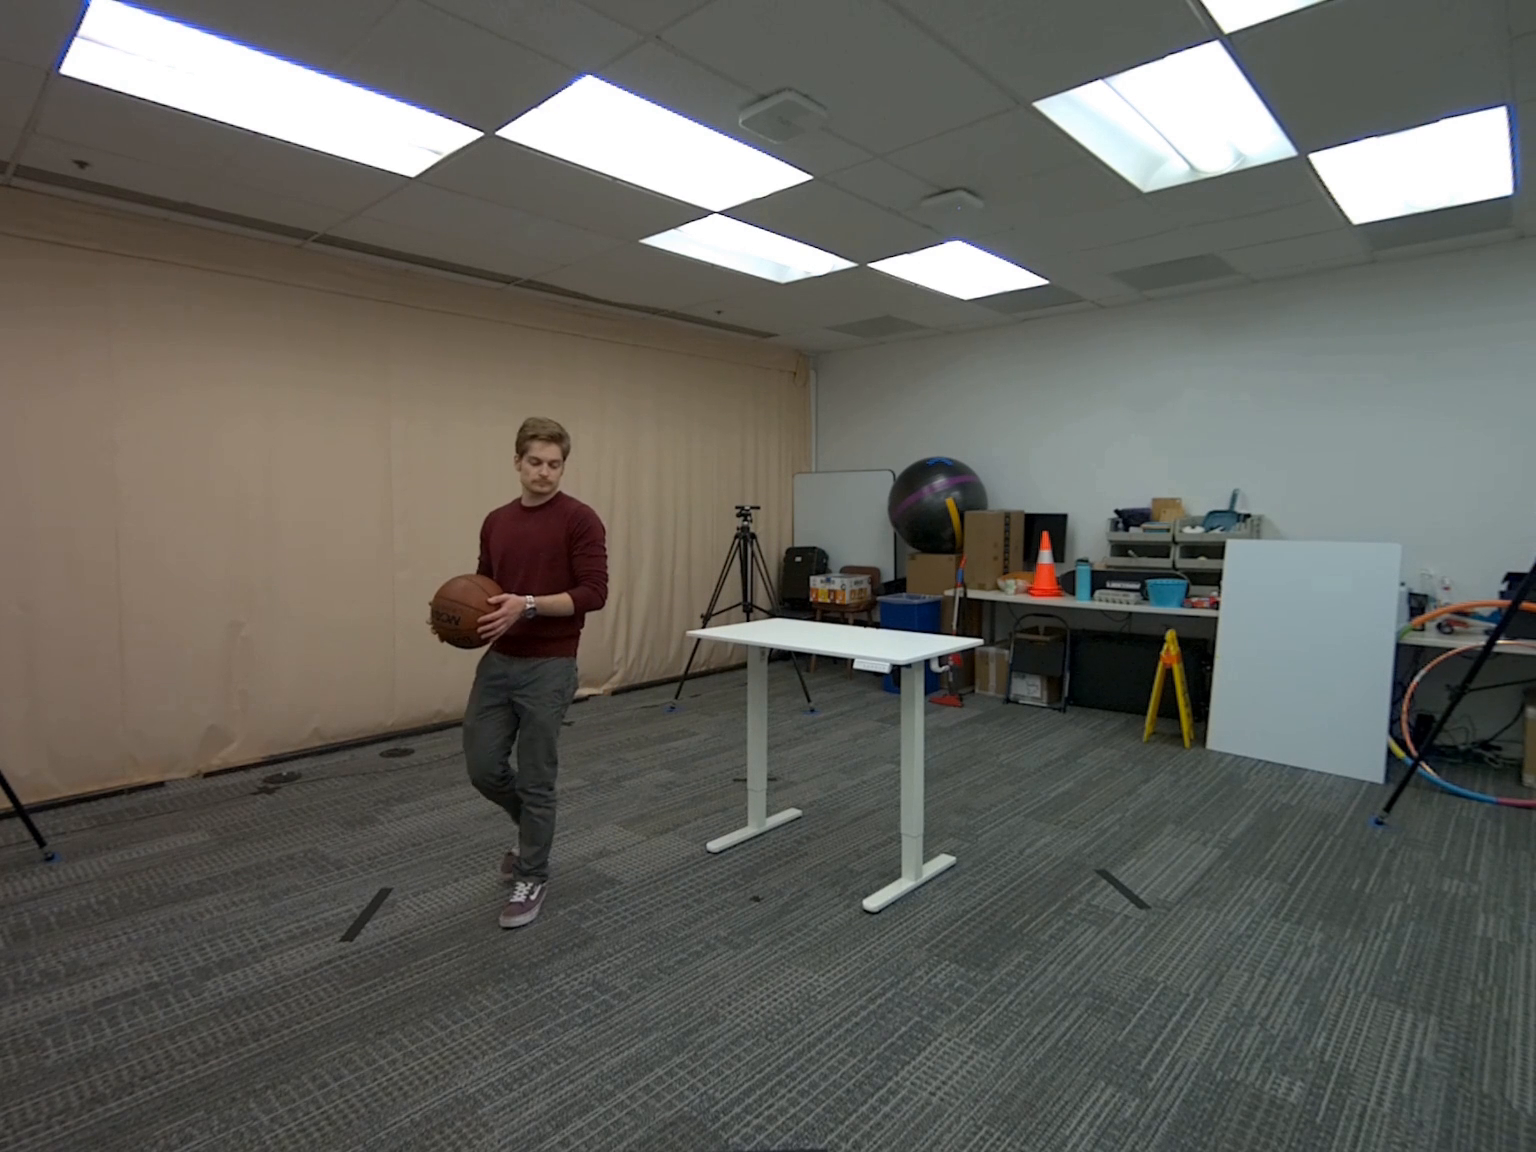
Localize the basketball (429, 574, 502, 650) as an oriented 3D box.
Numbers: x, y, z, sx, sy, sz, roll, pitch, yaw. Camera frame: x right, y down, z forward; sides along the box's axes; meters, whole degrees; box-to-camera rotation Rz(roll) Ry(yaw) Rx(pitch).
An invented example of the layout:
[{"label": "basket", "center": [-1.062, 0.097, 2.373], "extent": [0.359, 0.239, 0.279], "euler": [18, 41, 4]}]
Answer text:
[{"label": "basketball", "center": [-0.937, 0.113, 2.685], "extent": [0.236, 0.235, 0.237], "euler": [0, 4, -2]}]
